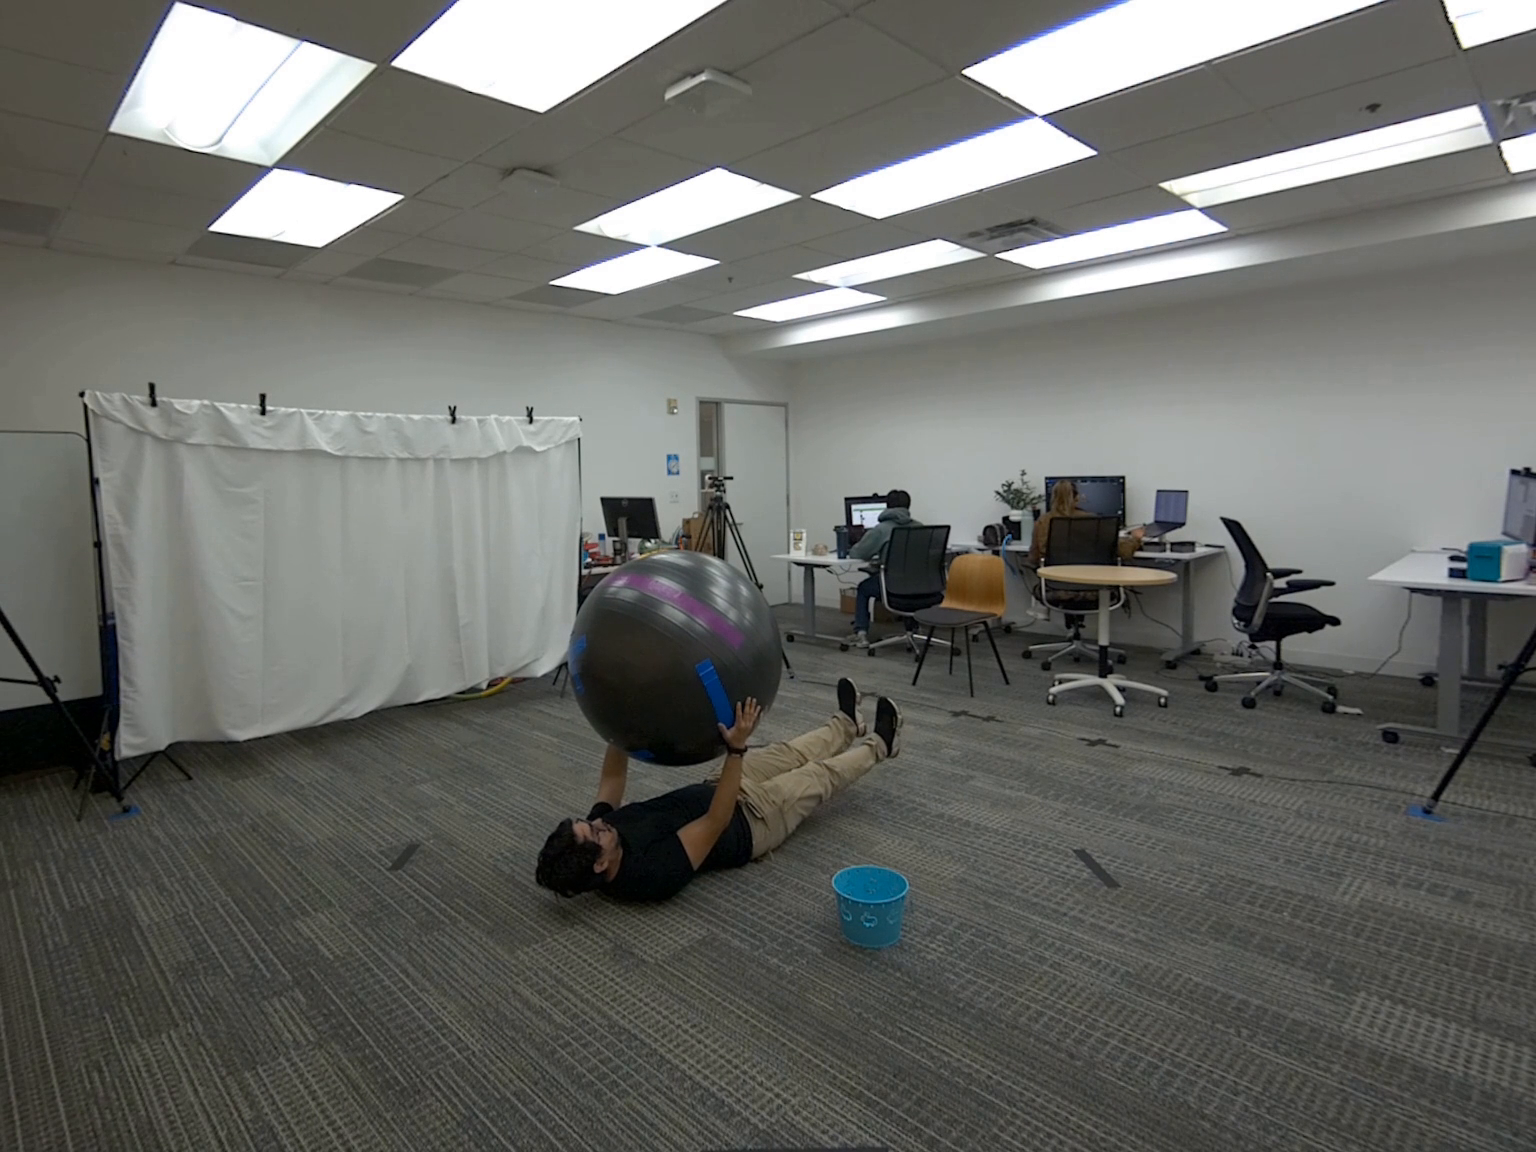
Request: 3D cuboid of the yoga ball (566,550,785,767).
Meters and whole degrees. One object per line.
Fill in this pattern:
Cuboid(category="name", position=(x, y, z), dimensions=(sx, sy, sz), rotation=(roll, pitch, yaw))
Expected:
Cuboid(category="yoga ball", position=(-0.327, 0.292, 3.042), dimensions=(0.757, 0.755, 0.761), rotation=(-1, 4, -2))
